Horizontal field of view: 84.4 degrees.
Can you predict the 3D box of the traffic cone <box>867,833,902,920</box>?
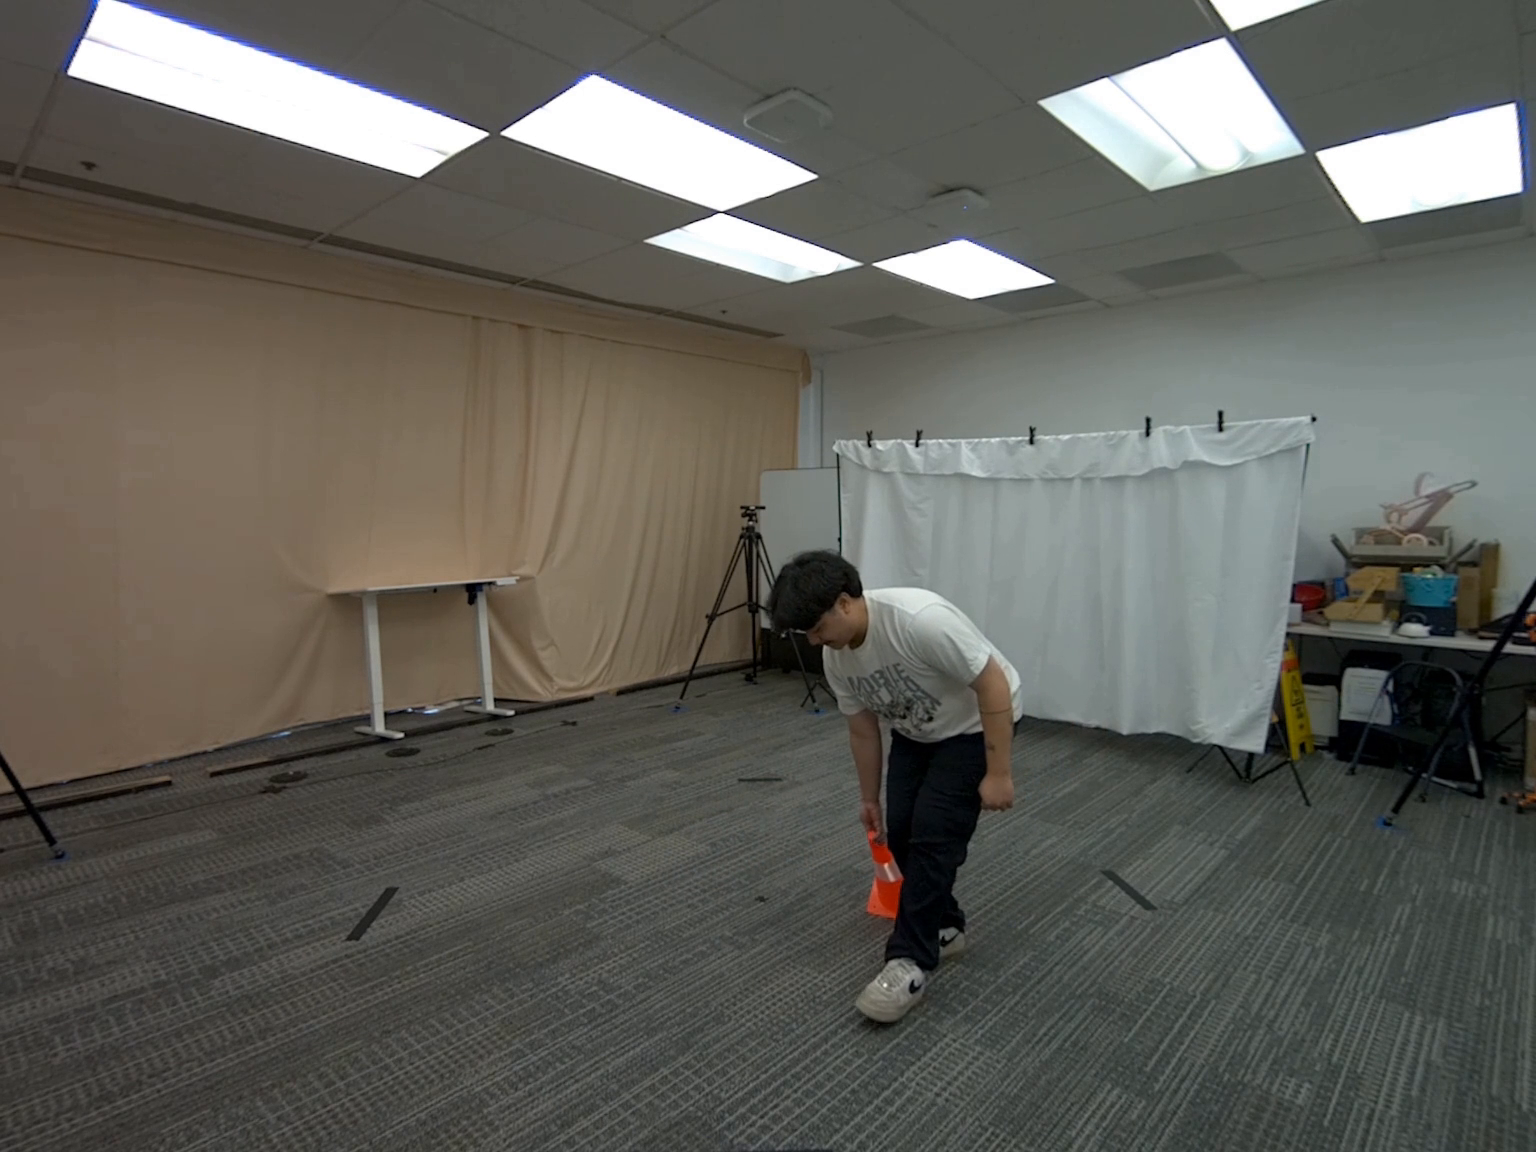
[{"bbox_3d":[0.399,0.958,2.788,0.210,0.373,0.204,-4,41,26],"label":"traffic cone"}]
